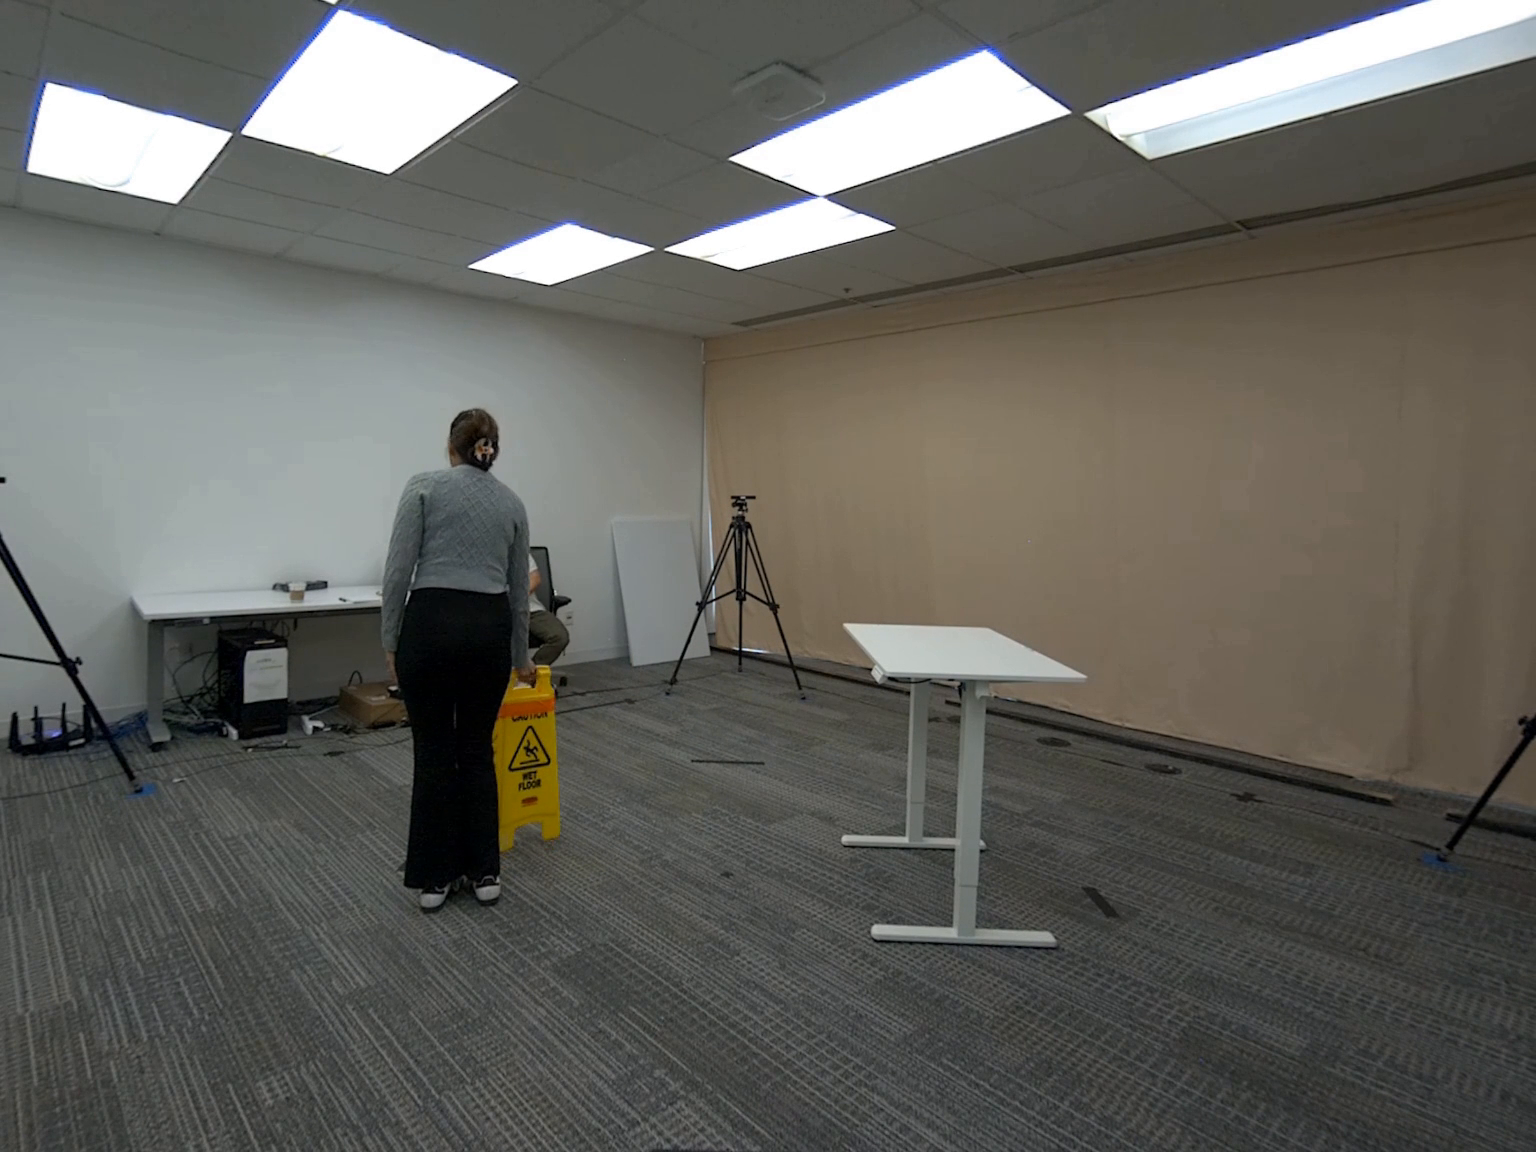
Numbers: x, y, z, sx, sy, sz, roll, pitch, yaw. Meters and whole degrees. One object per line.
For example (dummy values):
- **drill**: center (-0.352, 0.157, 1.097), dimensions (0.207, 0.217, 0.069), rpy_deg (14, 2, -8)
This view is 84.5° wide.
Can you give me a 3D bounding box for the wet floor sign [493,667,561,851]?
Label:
- **wet floor sign**: center (-0.965, 0.670, 3.229), dimensions (0.275, 0.643, 0.298), rpy_deg (1, 9, -44)
